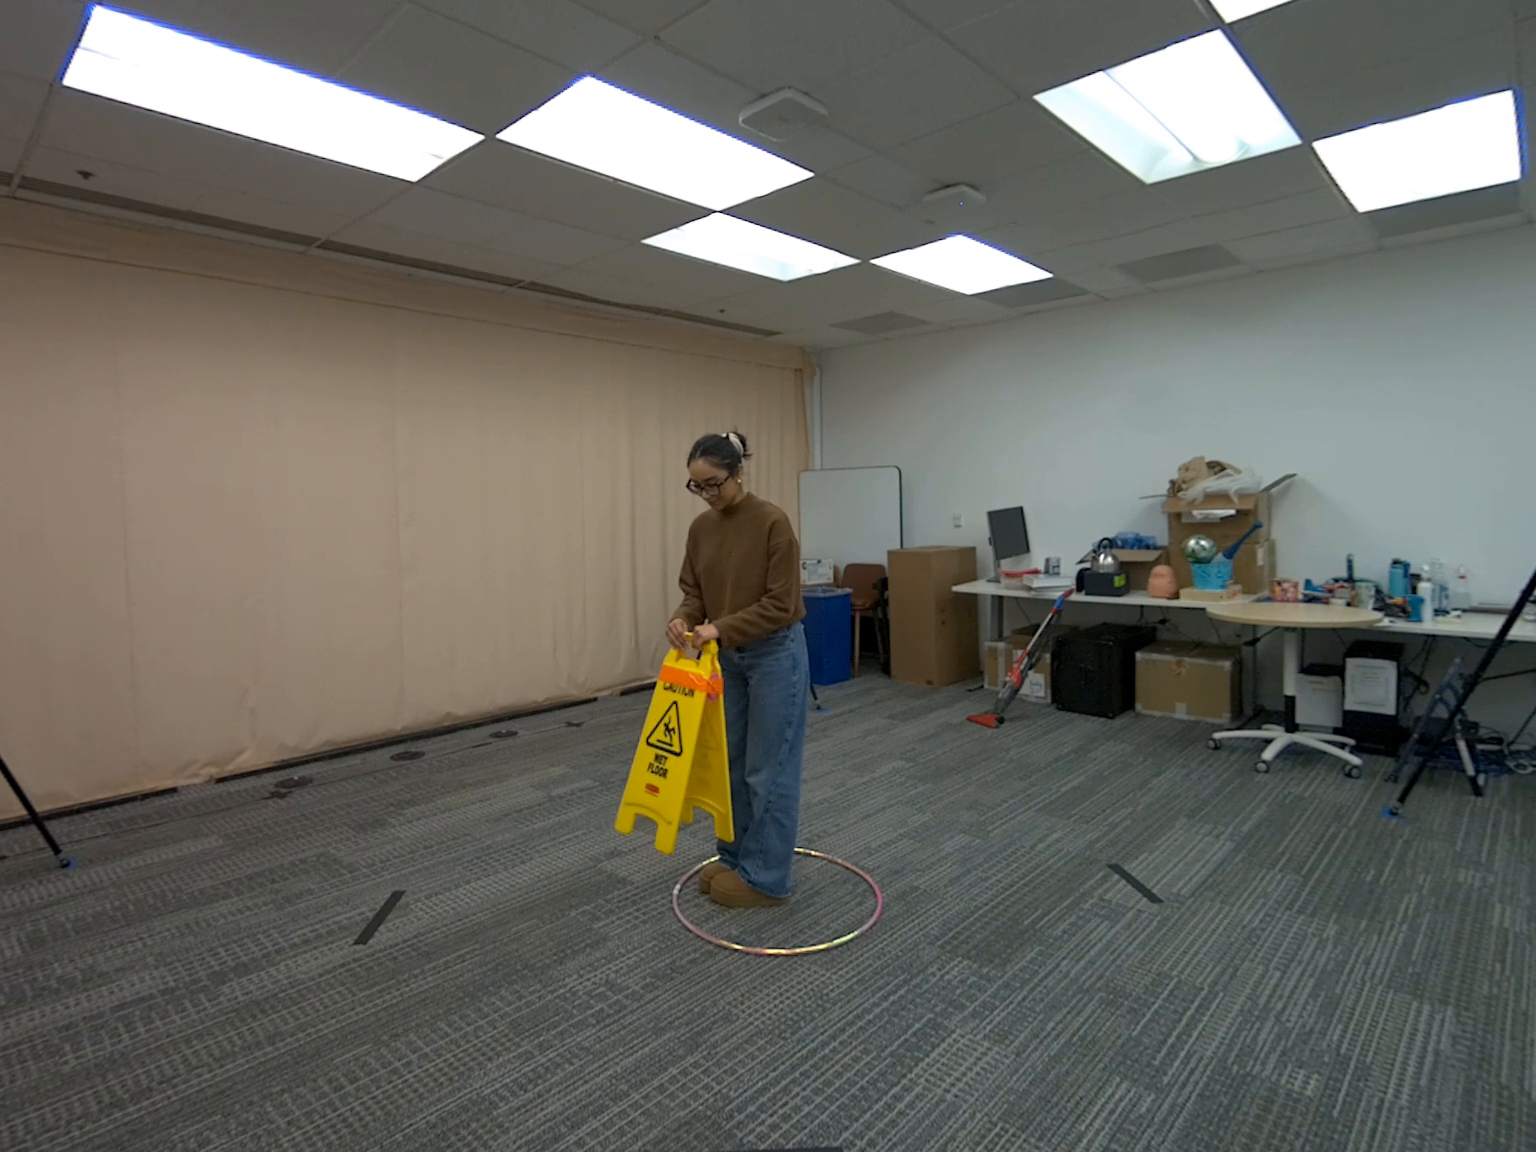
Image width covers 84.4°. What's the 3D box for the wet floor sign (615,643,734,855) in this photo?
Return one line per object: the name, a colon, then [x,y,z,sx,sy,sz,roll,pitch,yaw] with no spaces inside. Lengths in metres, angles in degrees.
wet floor sign: [-0.261,0.511,2.714,0.280,0.647,0.292,7,-3,-44]
